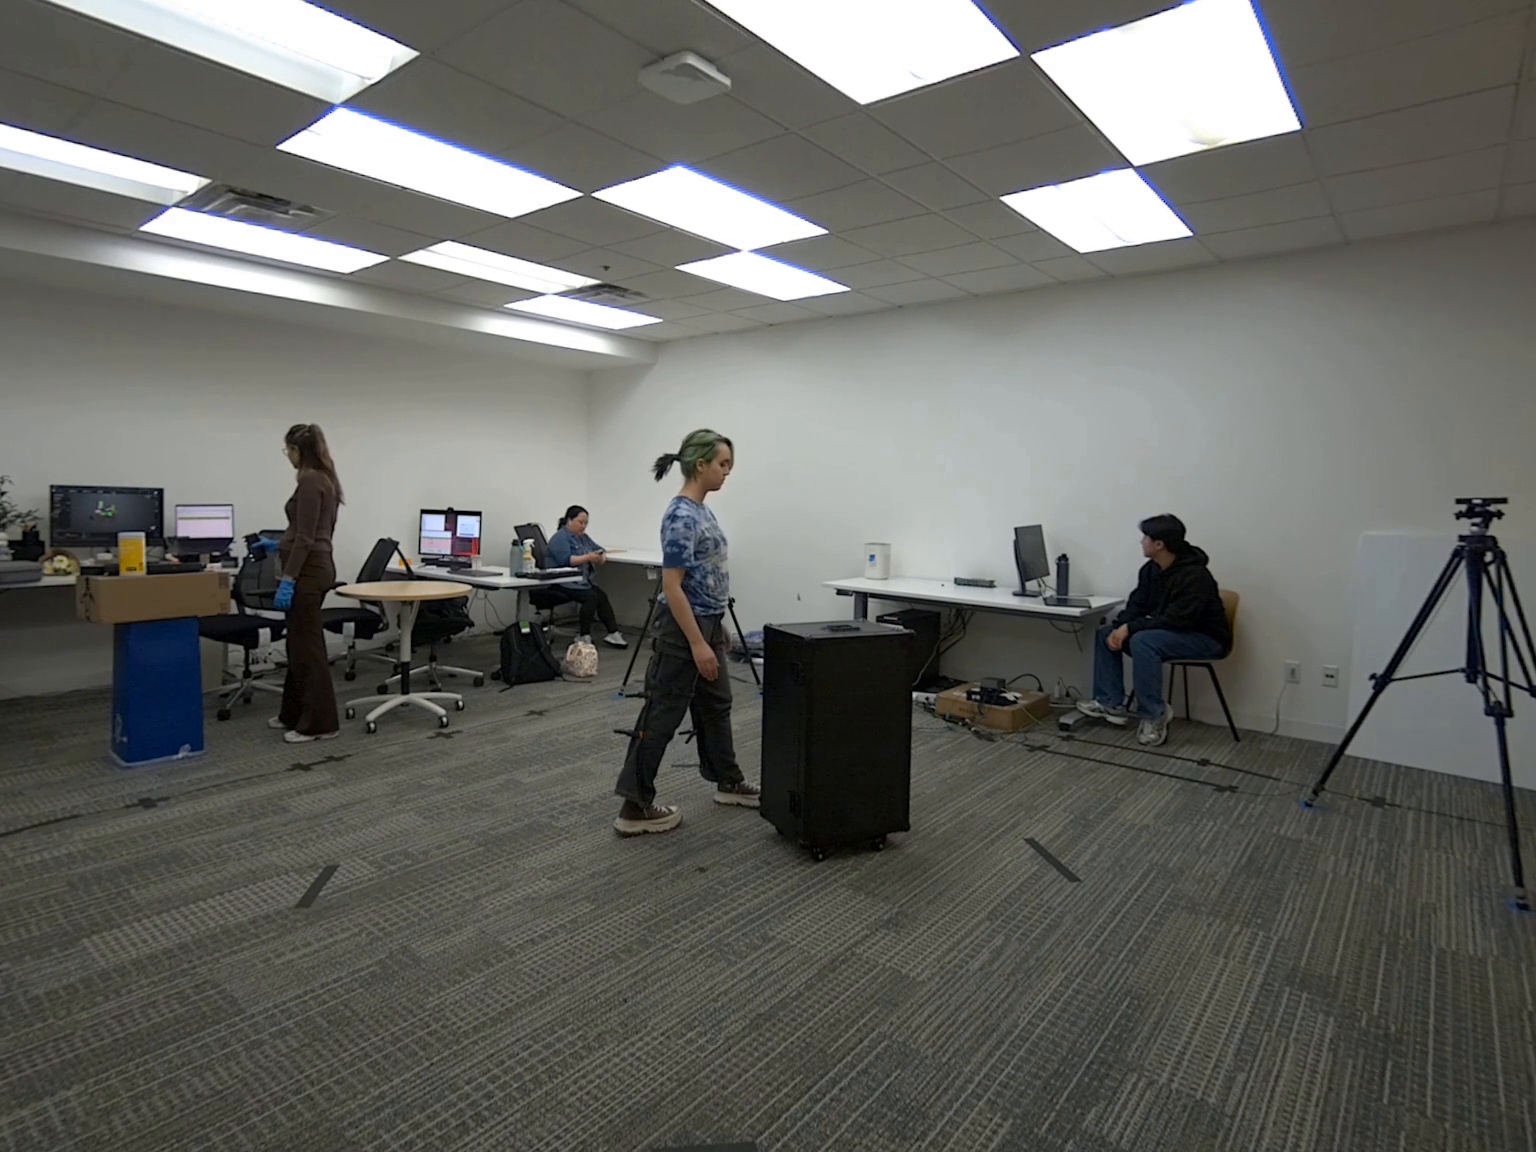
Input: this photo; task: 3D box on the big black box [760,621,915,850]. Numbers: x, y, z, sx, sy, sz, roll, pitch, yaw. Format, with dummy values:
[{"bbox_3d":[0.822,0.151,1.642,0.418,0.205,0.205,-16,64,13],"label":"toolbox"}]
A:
[{"bbox_3d":[0.254,0.630,3.378,0.509,0.860,0.407,0,3,-26],"label":"big black box"}]
